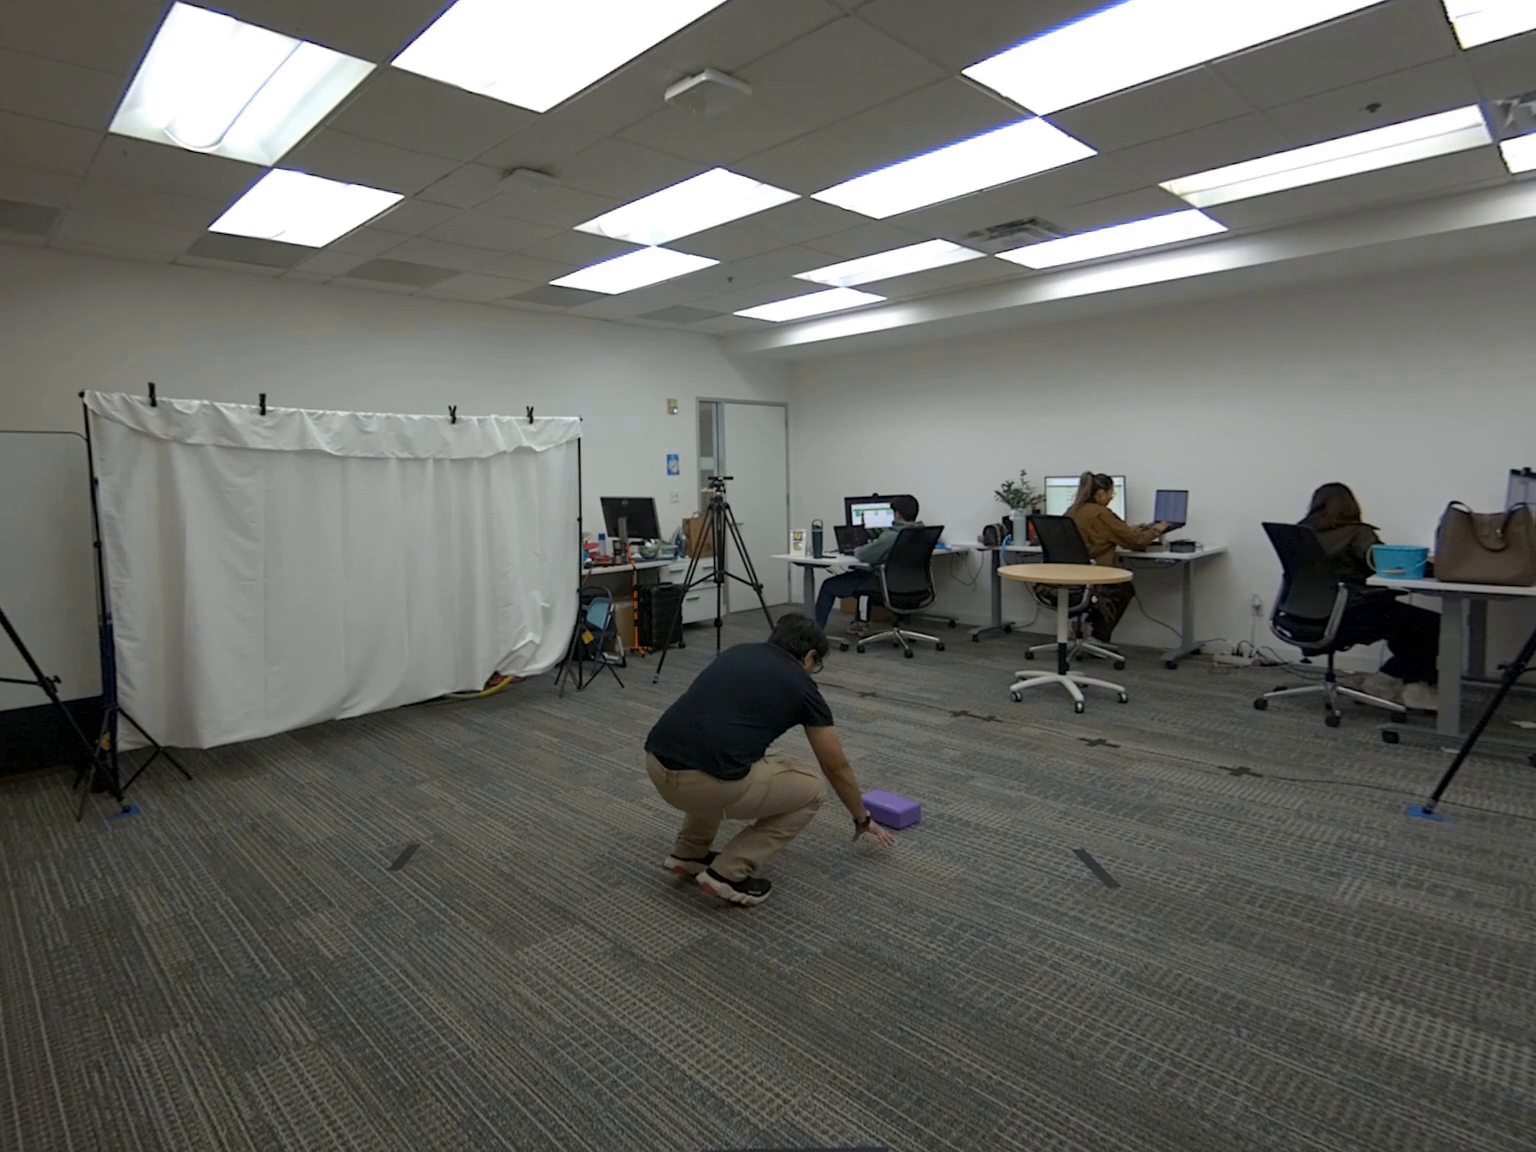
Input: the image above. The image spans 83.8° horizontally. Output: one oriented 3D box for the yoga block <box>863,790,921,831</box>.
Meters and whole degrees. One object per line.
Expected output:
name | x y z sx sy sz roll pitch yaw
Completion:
yoga block | 0.488 0.944 3.470 0.145 0.076 0.236 -5 7 -41
